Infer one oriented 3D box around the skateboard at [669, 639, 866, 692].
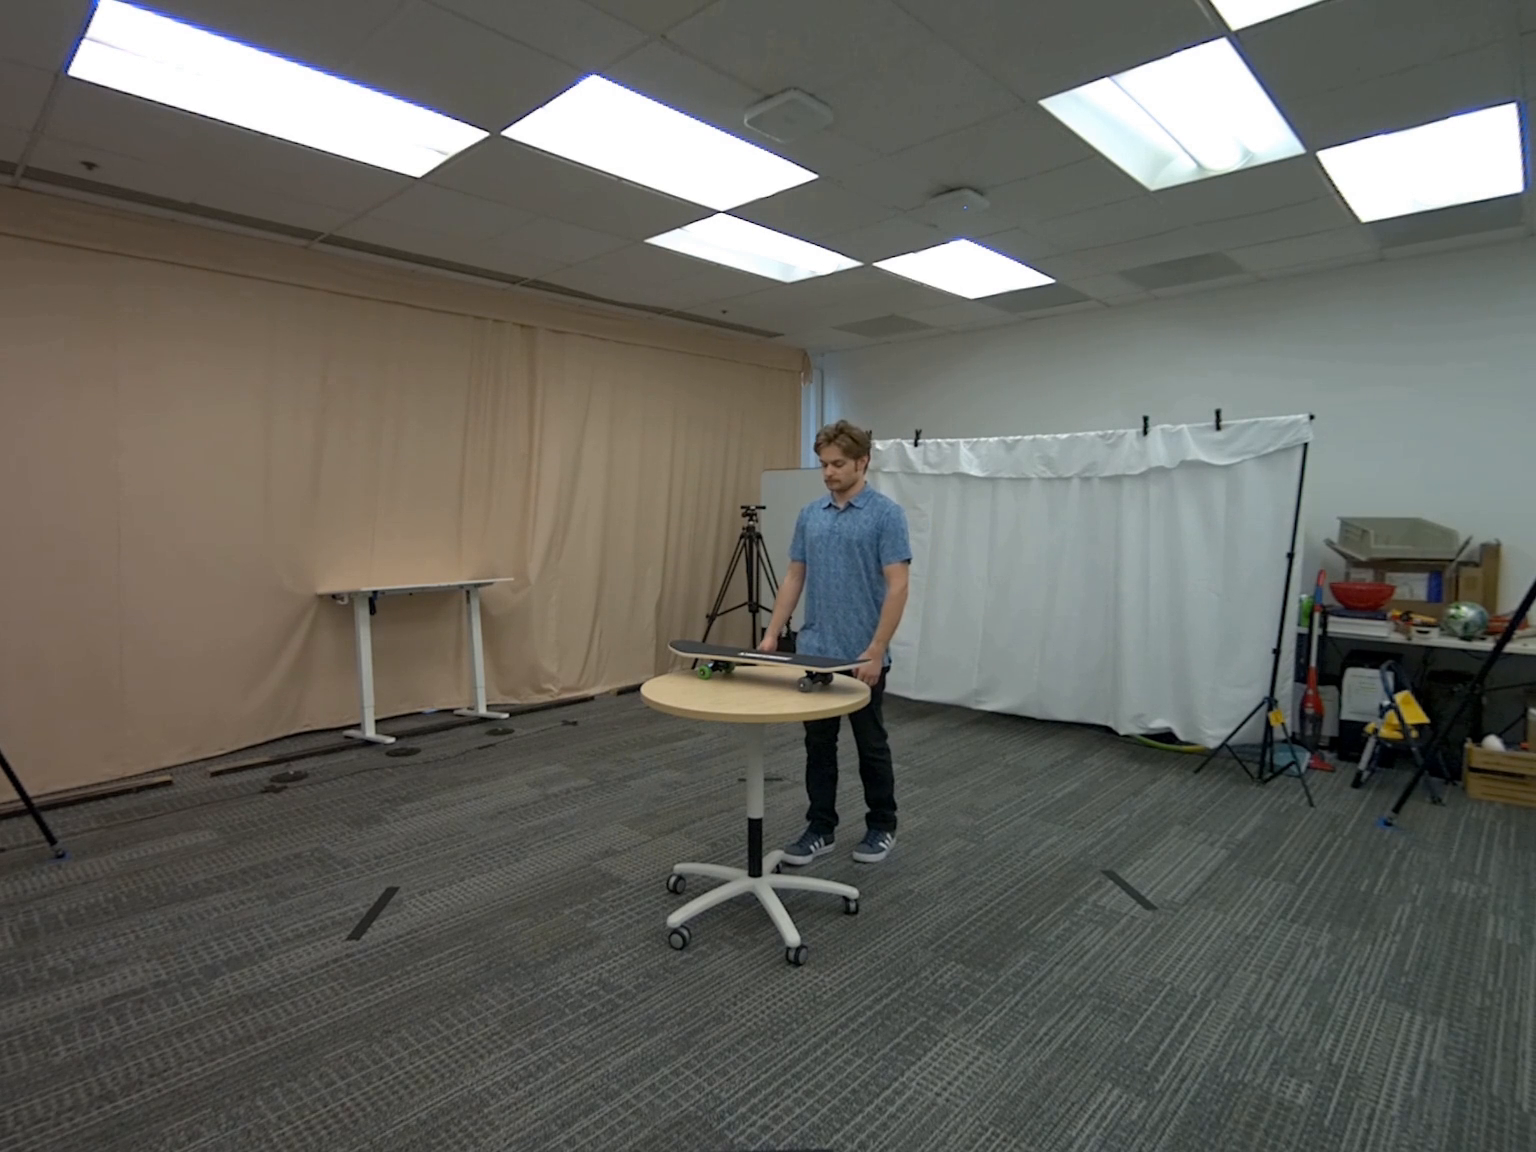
[{"bbox_3d":[-0.017,0.316,2.911,0.809,0.110,0.188,4,6,32],"label":"skateboard"}]
